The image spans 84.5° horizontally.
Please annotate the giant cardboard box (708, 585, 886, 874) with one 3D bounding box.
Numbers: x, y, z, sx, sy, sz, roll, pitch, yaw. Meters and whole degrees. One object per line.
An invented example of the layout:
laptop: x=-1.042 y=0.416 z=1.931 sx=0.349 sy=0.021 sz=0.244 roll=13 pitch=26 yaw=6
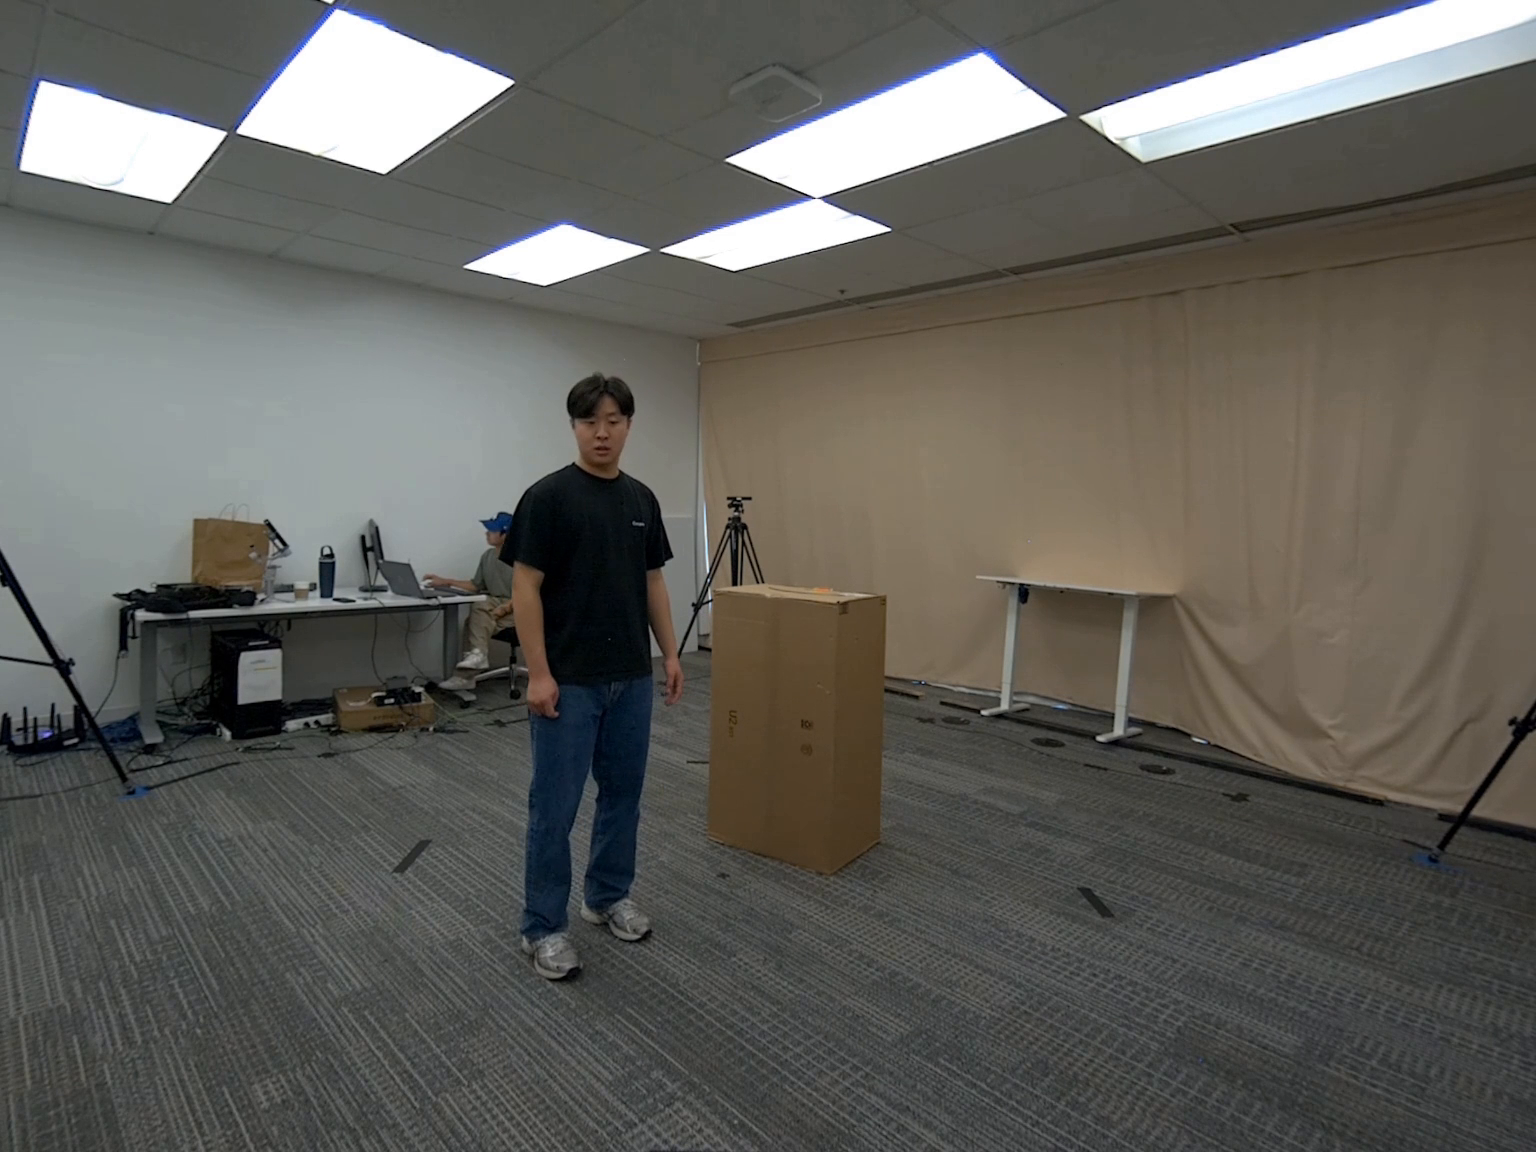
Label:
giant cardboard box: x=0.117 y=0.573 z=3.431 sx=0.598 sy=1.025 sz=0.437 roll=4 pitch=3 yaw=36
